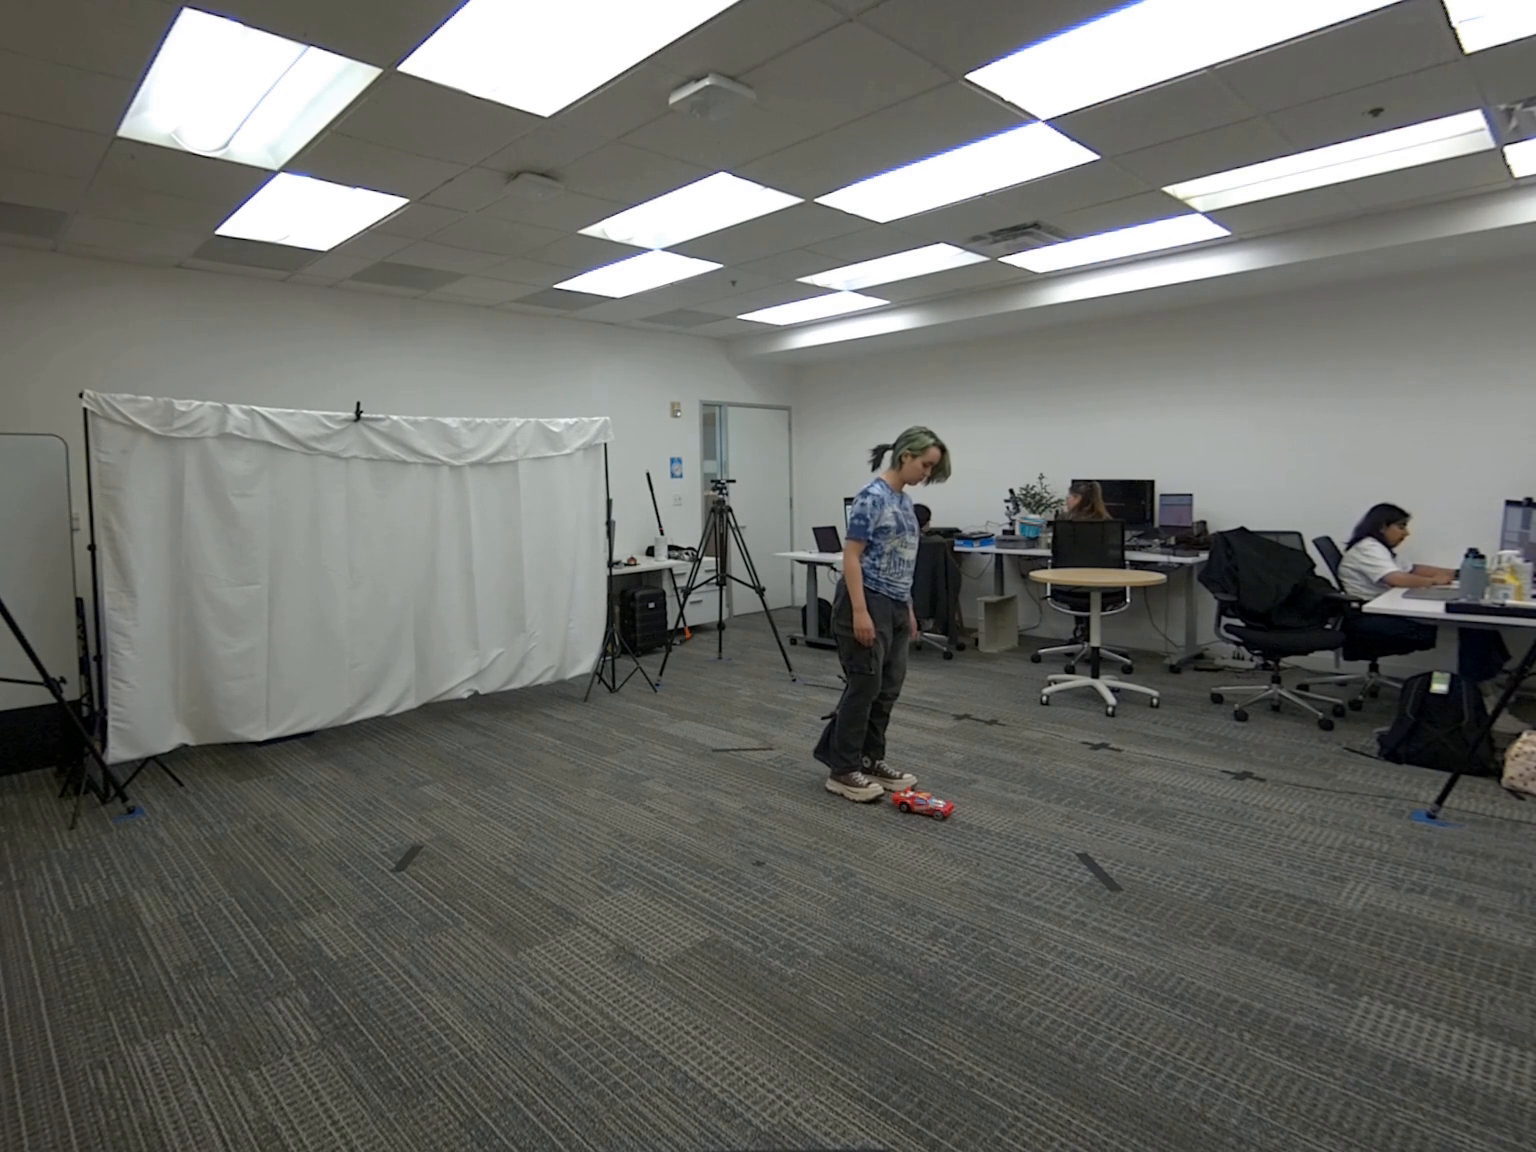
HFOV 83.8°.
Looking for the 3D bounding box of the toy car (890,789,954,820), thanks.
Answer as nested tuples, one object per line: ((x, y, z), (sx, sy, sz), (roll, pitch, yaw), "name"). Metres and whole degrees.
((0.641, 0.956, 3.569), (0.263, 0.082, 0.127), (15, 14, 33), "toy car")
